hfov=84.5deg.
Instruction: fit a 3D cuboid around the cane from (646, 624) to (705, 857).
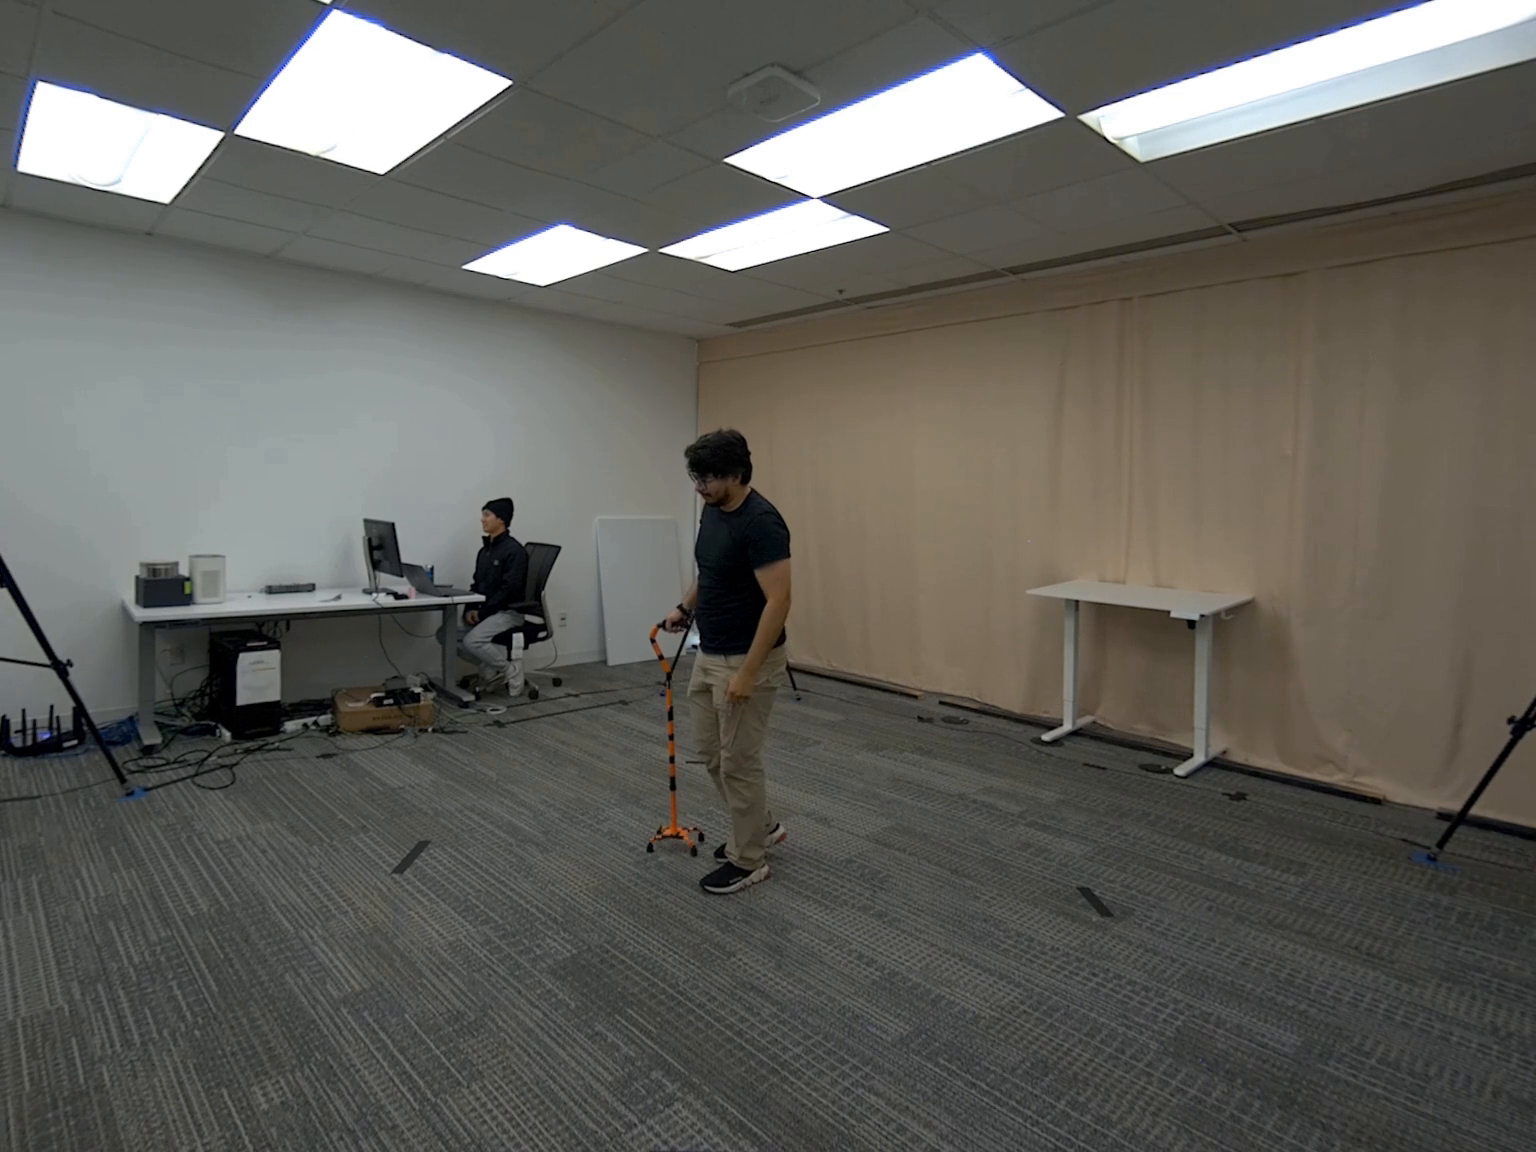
[{"bbox_3d":[-0.388,0.620,3.311,0.208,0.905,0.150,-1,4,12],"label":"cane"}]
